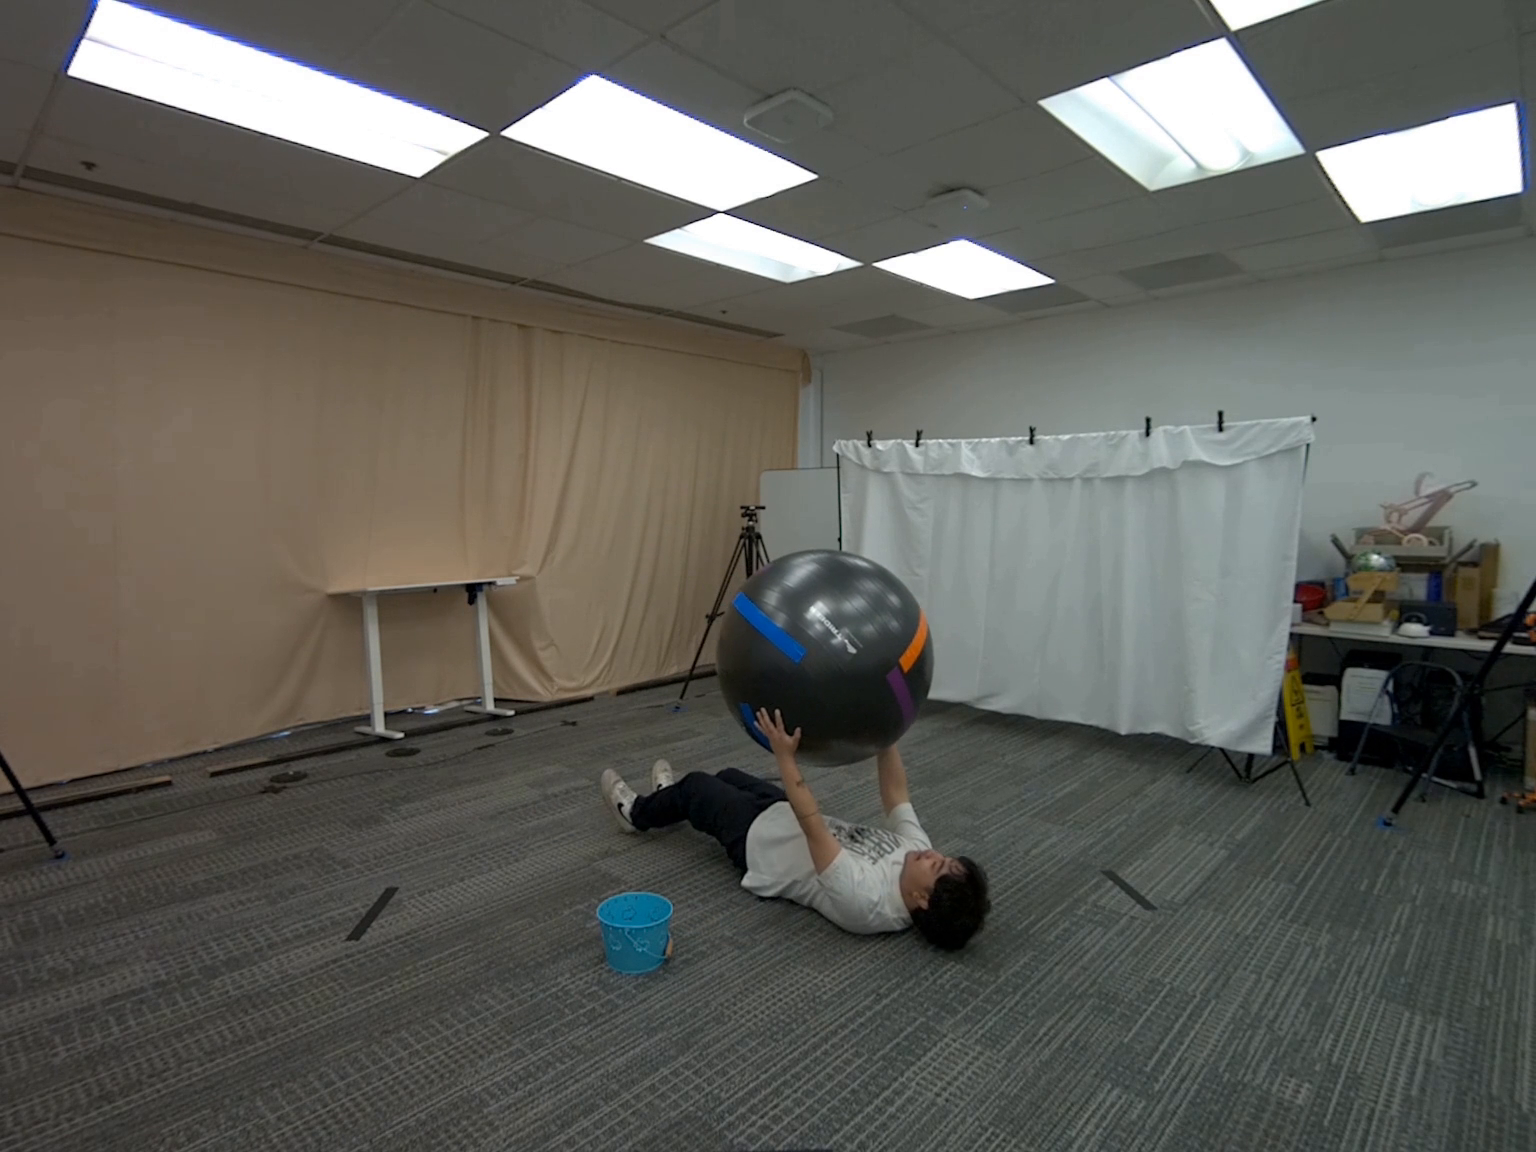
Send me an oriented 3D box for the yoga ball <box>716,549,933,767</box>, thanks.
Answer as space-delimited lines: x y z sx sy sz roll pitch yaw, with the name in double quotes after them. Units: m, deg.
0.196 0.287 2.961 0.757 0.756 0.761 0 4 -2 "yoga ball"
